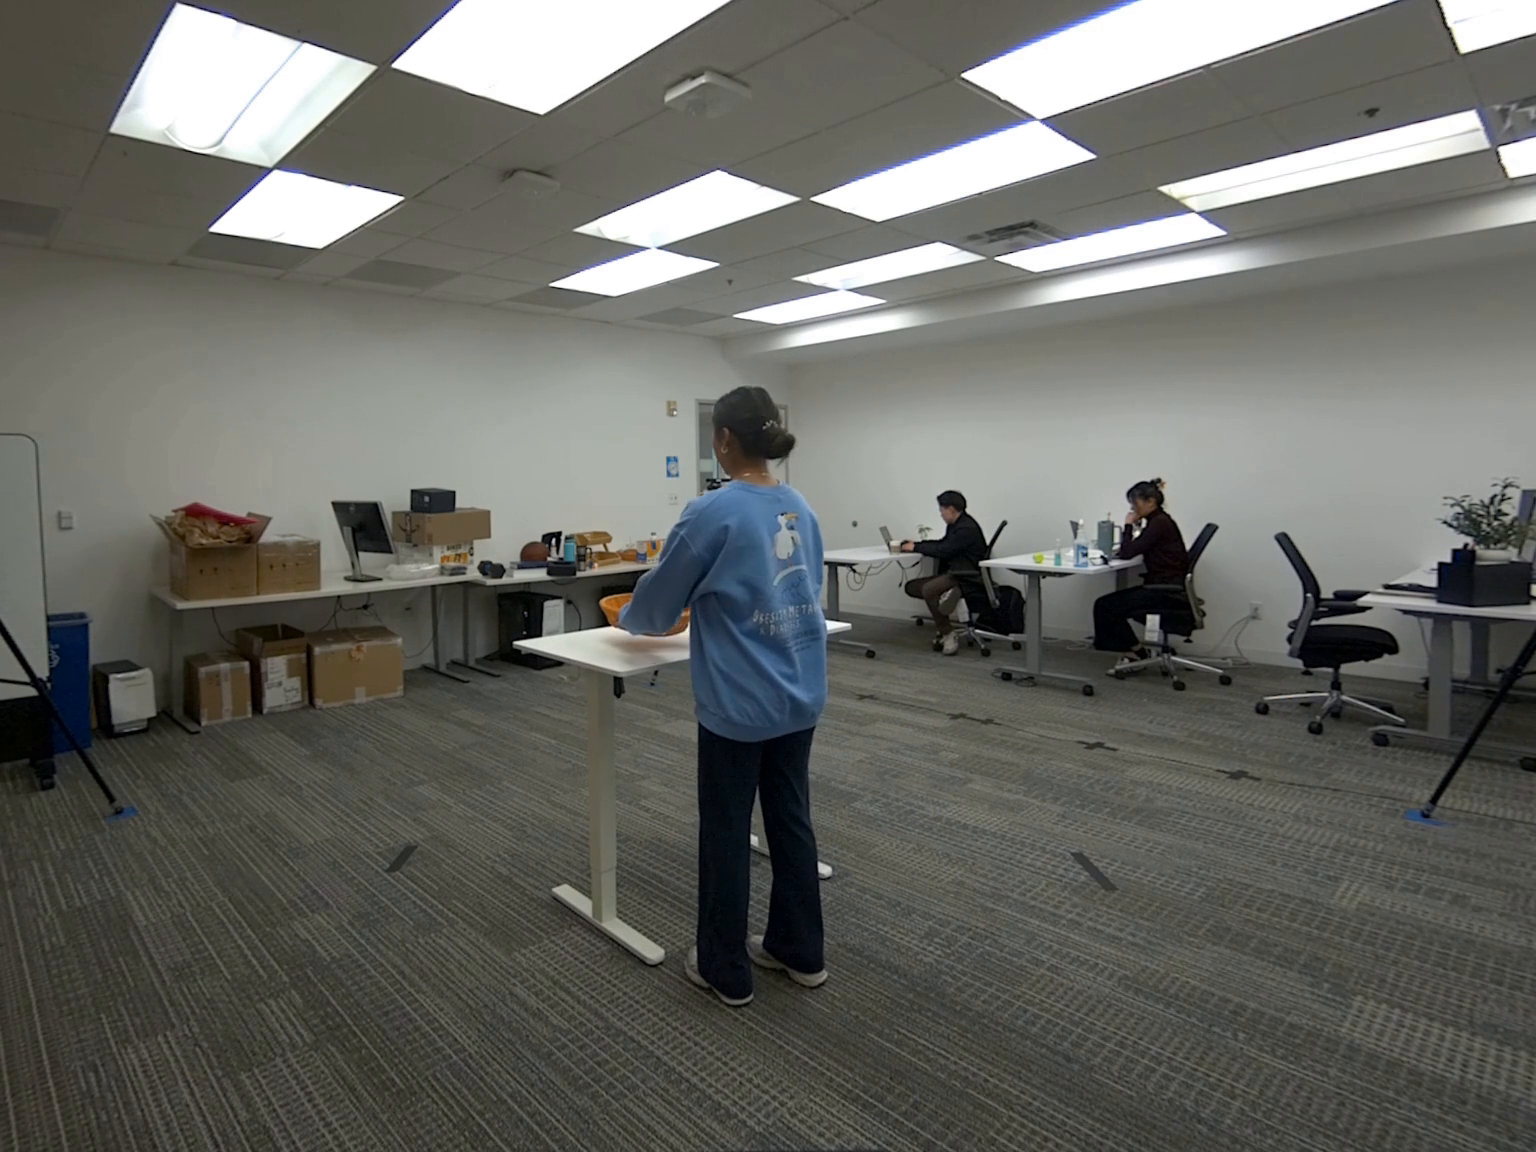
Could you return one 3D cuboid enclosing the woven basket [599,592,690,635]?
[{"bbox_3d":[-0.363,0.127,2.714,0.358,0.073,0.249,5,10,20],"label":"woven basket"}]
